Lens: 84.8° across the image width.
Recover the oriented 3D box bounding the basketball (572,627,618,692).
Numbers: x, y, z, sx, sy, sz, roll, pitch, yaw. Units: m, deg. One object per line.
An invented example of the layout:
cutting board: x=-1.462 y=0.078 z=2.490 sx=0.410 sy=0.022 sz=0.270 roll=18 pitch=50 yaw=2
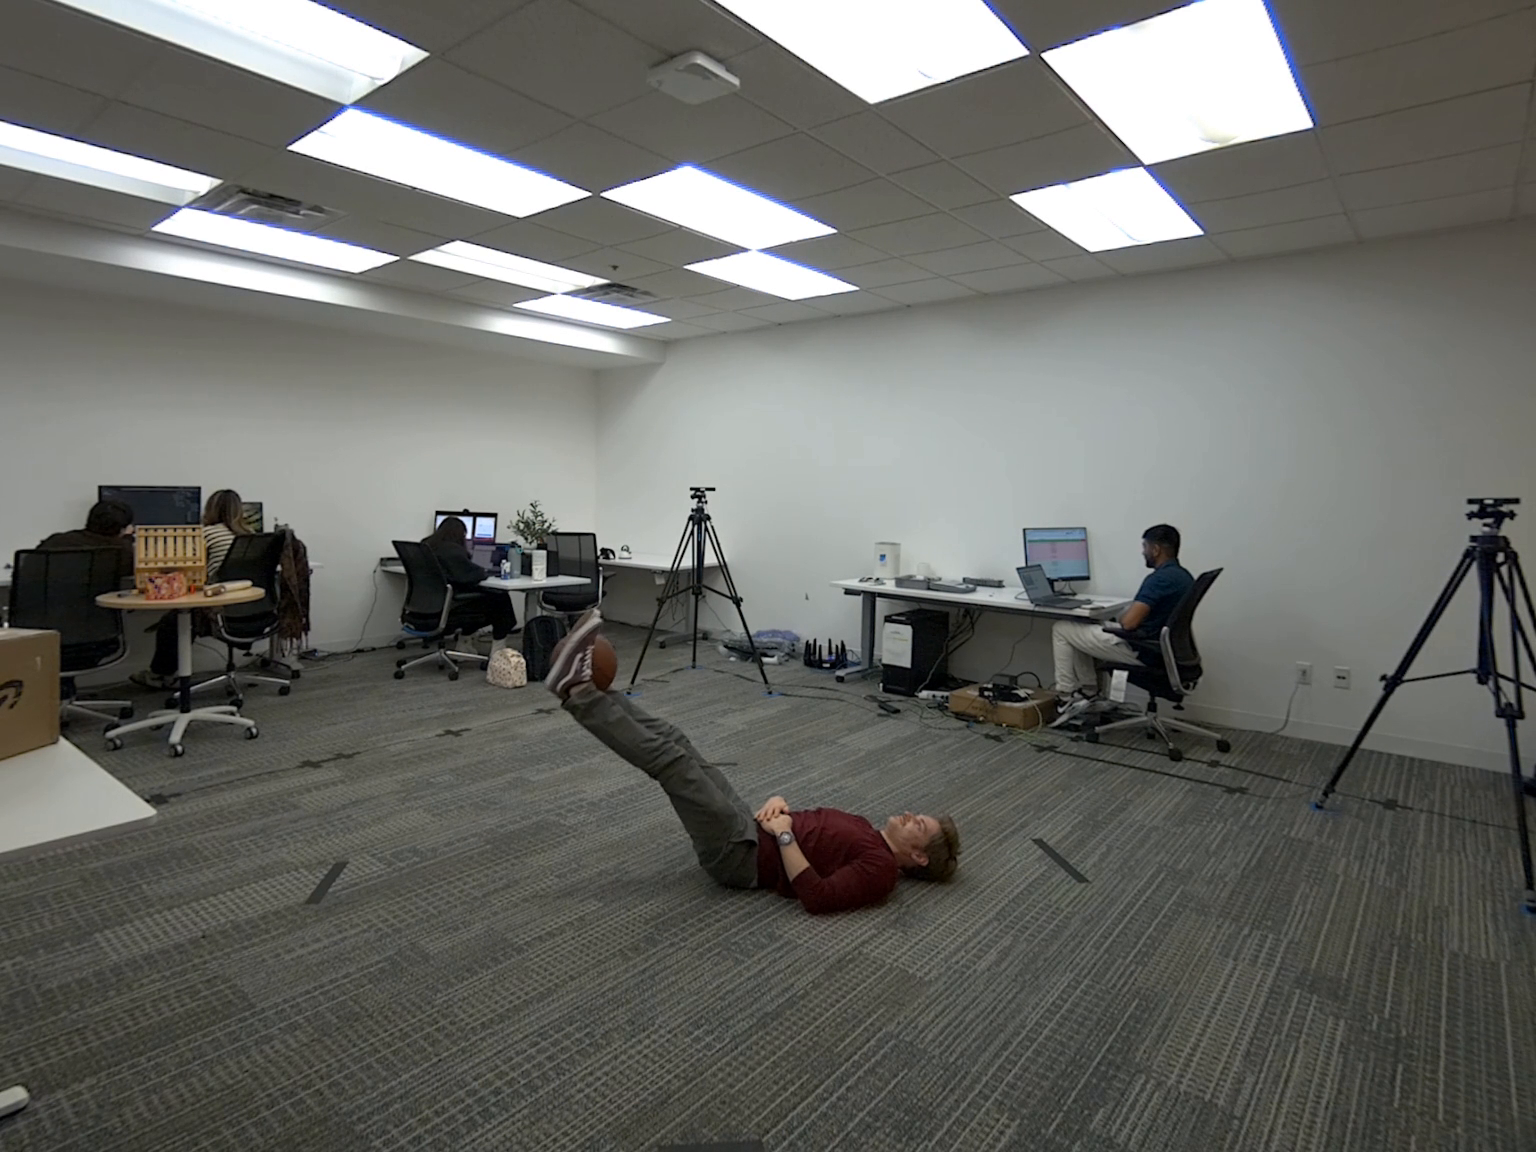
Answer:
basketball: x=-0.664 y=0.321 z=3.021 sx=0.236 sy=0.235 sz=0.237 roll=-3 pitch=3 yaw=-2
